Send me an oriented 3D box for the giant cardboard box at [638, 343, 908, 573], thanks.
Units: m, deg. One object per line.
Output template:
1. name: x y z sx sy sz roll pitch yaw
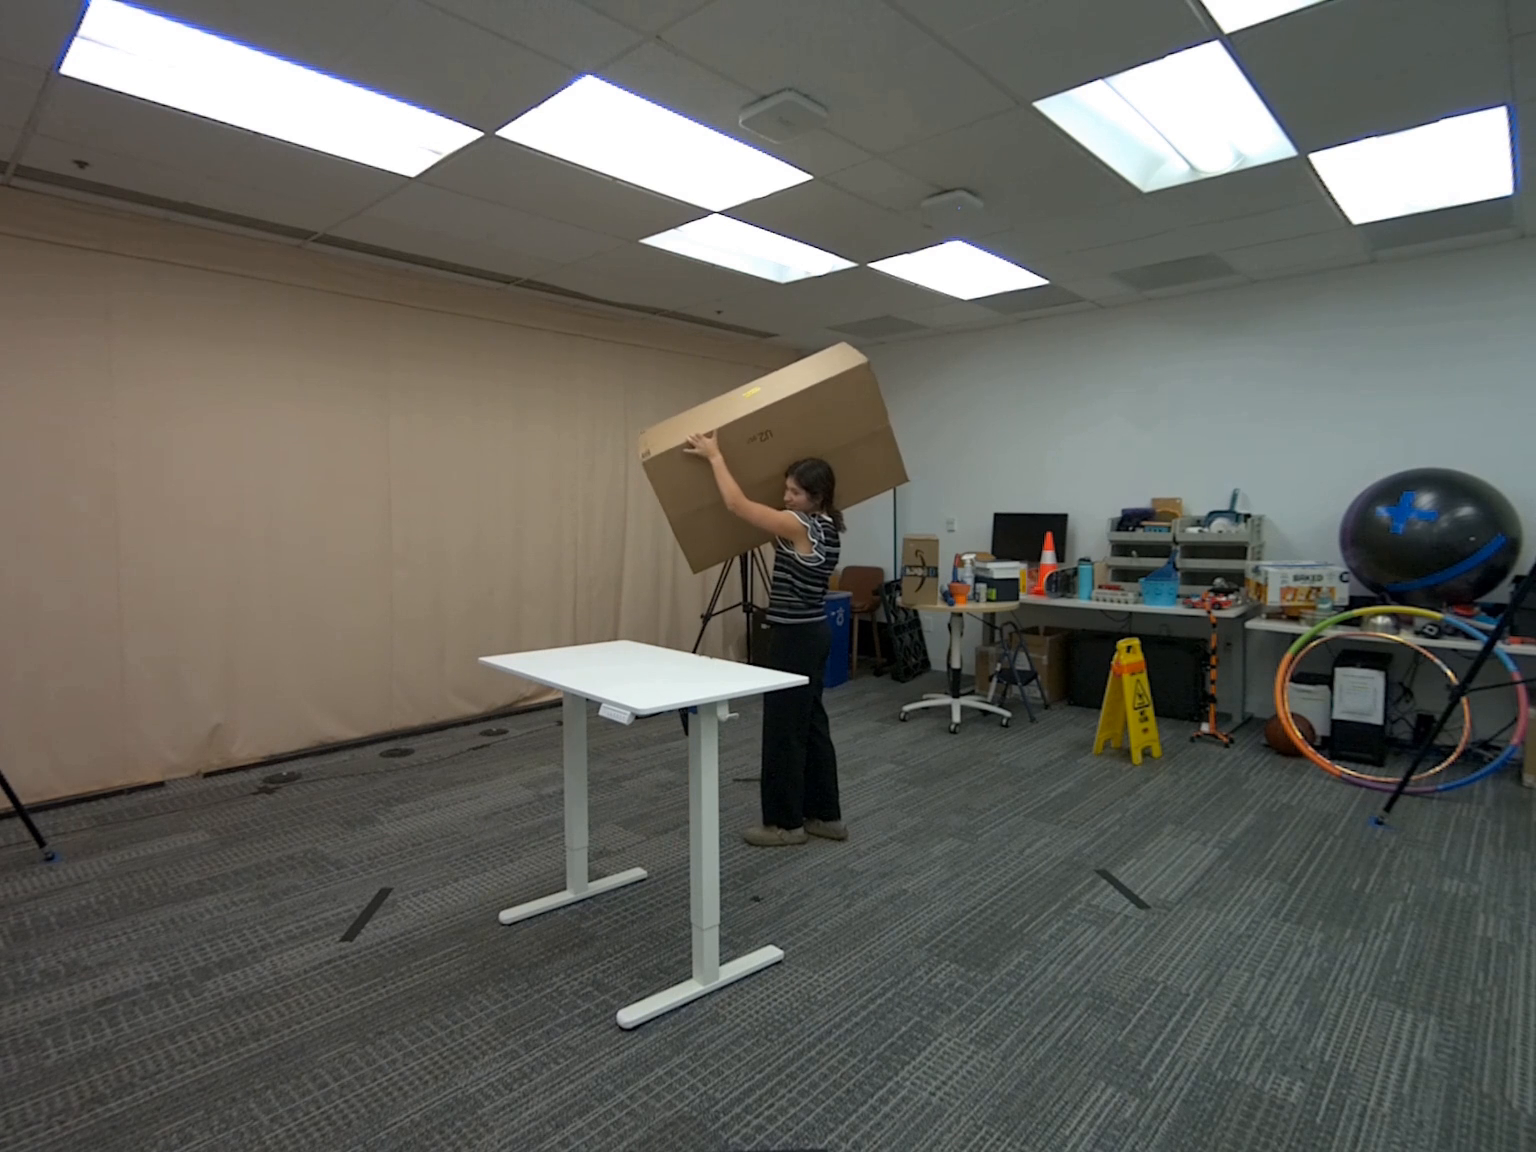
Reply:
1. giant cardboard box: 0.009 -0.521 3.730 1.028 0.564 0.435 -23 26 3
